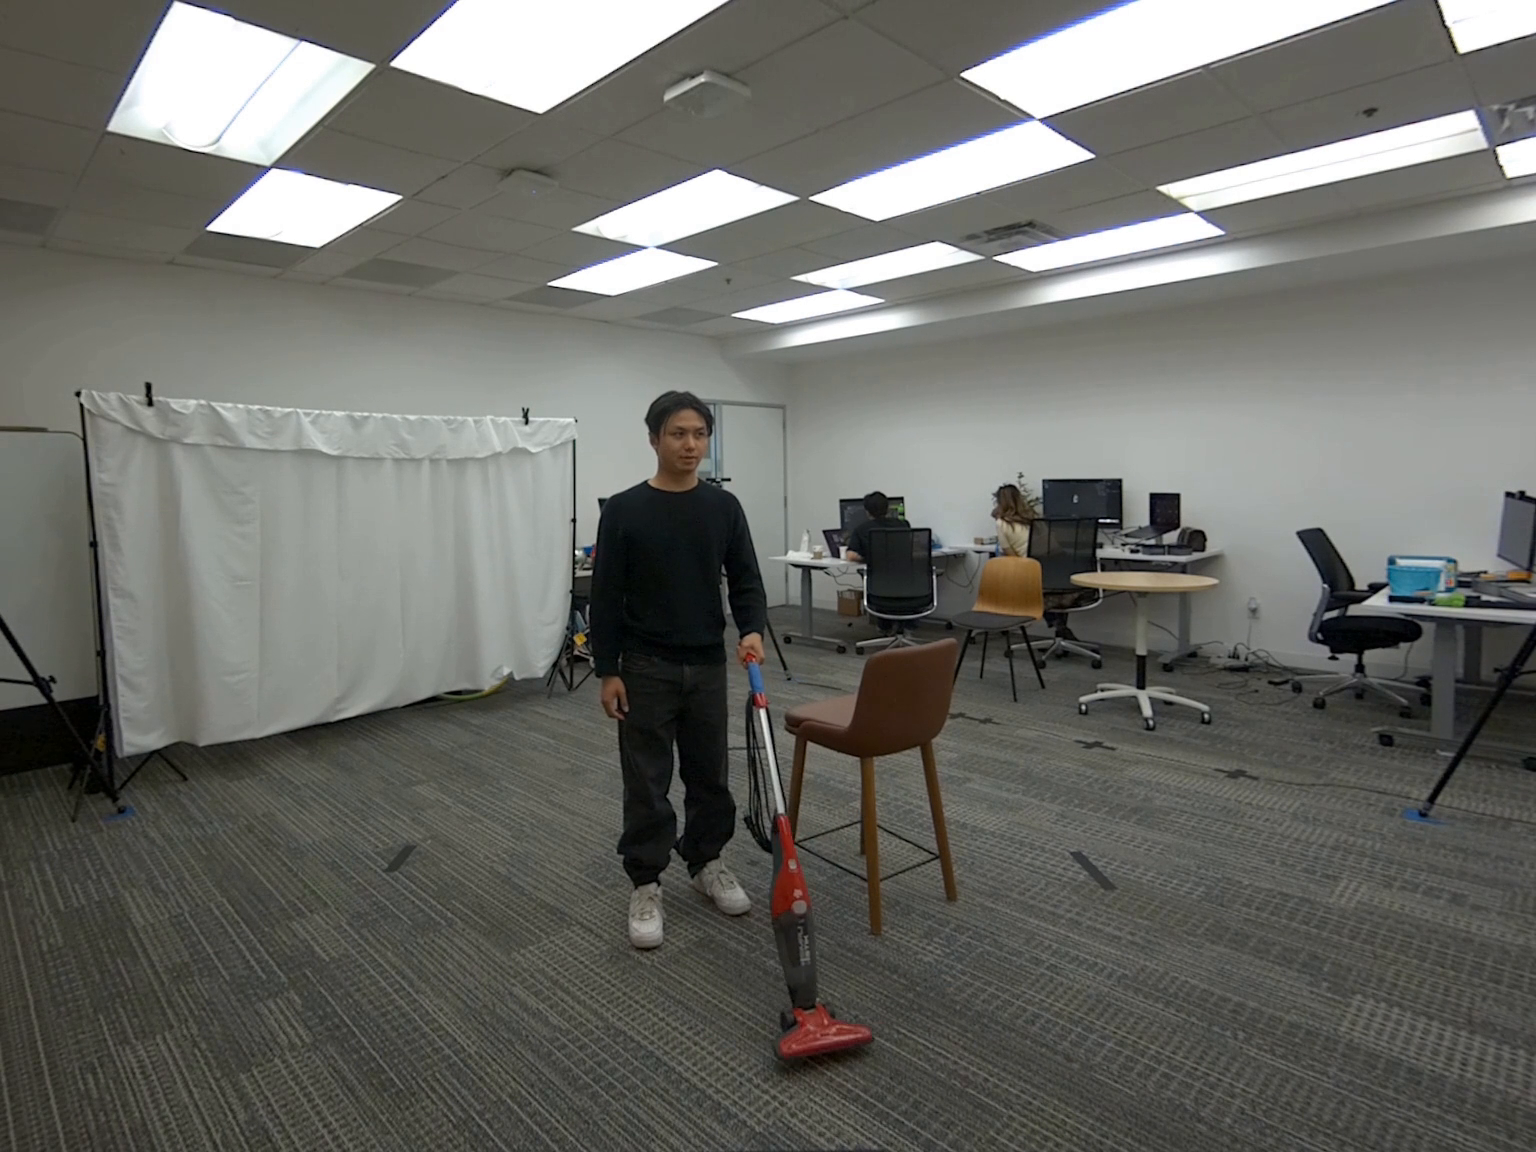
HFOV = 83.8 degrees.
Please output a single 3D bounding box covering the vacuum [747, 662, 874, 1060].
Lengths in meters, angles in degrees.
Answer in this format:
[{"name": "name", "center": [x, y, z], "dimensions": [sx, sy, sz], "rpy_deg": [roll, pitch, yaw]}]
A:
[{"name": "vacuum", "center": [0.026, 0.681, 2.342], "dimensions": [0.247, 1.079, 0.143], "rpy_deg": [1, -32, -23]}]
